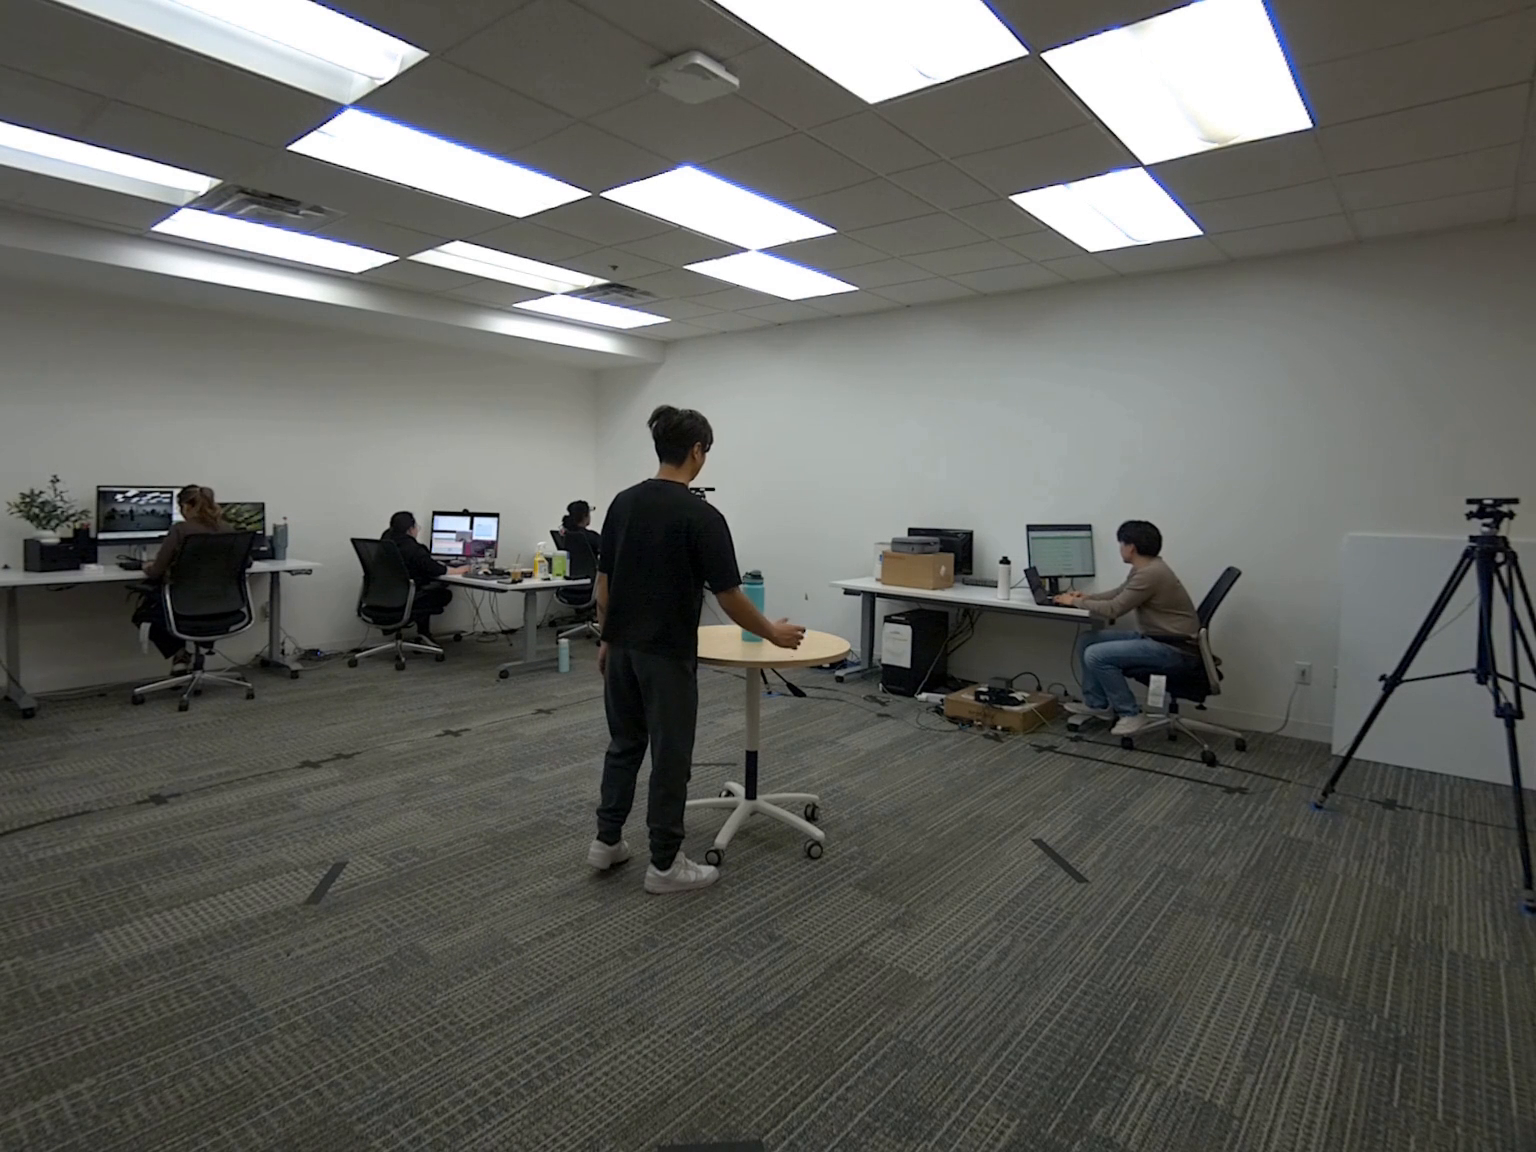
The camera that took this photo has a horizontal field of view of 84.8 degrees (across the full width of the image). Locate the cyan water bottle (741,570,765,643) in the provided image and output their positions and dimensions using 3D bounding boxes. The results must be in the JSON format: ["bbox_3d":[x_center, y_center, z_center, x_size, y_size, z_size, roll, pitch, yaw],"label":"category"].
[{"bbox_3d":[-0.069,0.114,3.438,0.092,0.282,0.093,0,3,-2],"label":"cyan water bottle"}]
